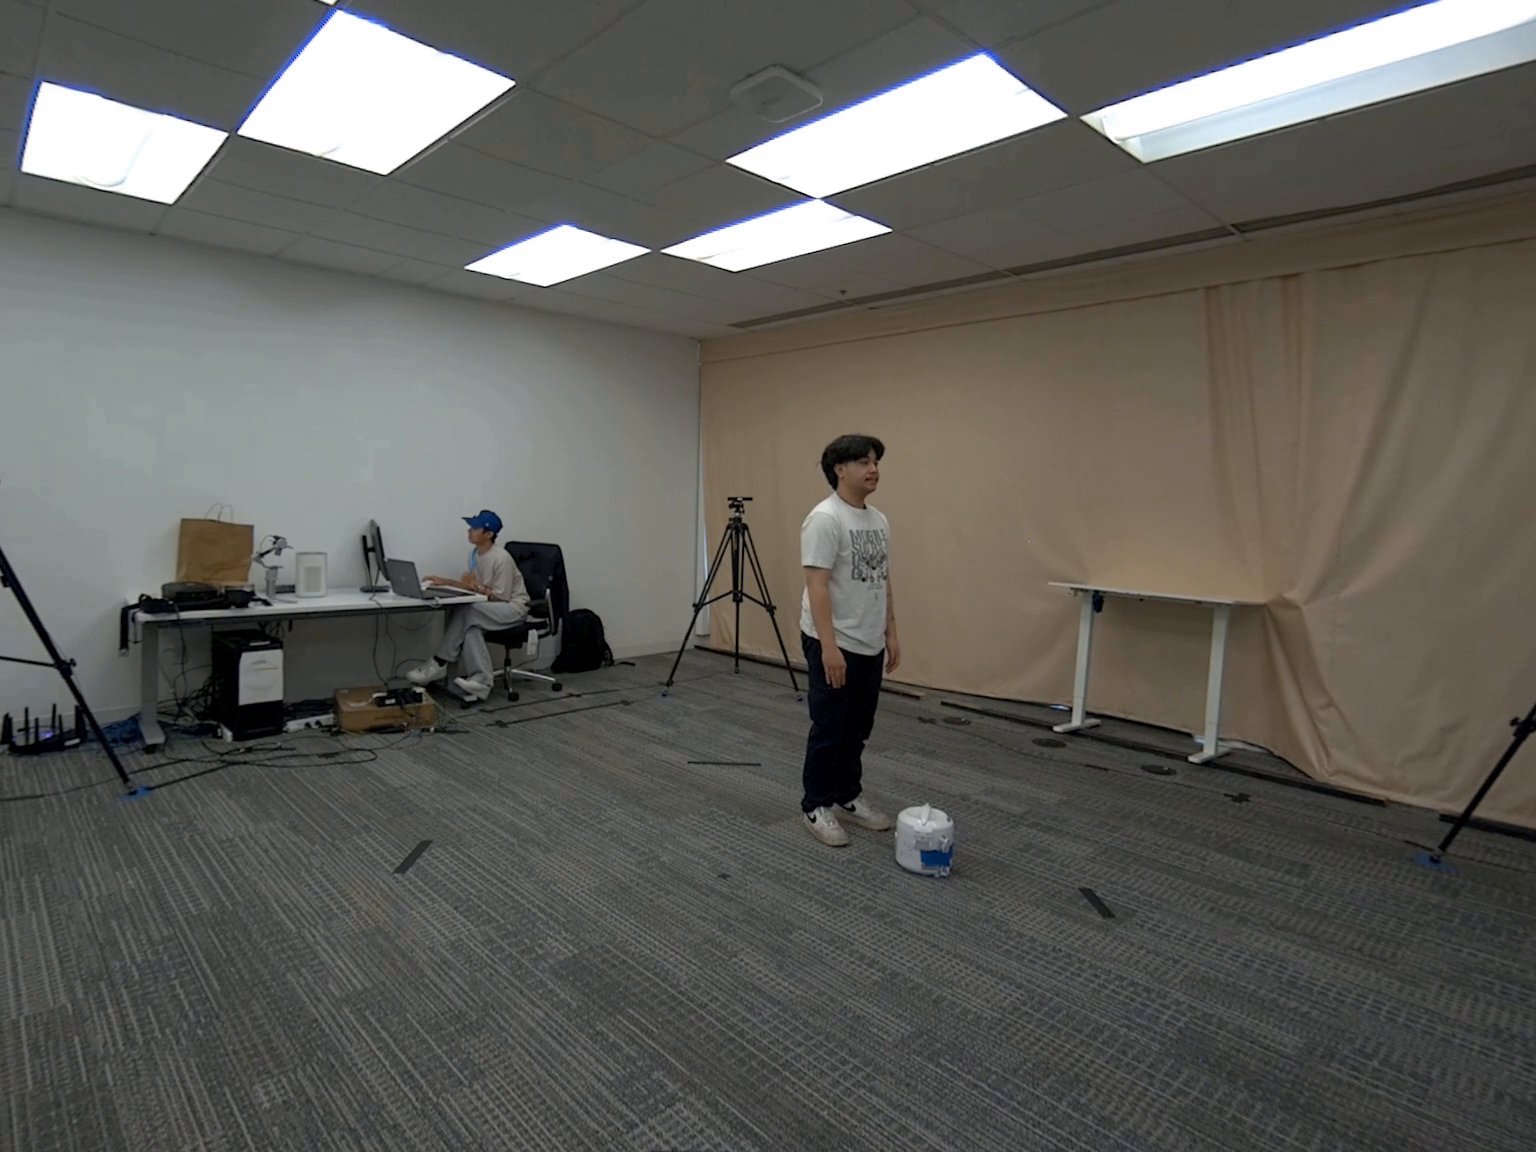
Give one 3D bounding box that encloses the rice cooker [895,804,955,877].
[{"bbox_3d":[0.592,0.998,3.221,0.220,0.232,0.218,4,4,15],"label":"rice cooker"}]
